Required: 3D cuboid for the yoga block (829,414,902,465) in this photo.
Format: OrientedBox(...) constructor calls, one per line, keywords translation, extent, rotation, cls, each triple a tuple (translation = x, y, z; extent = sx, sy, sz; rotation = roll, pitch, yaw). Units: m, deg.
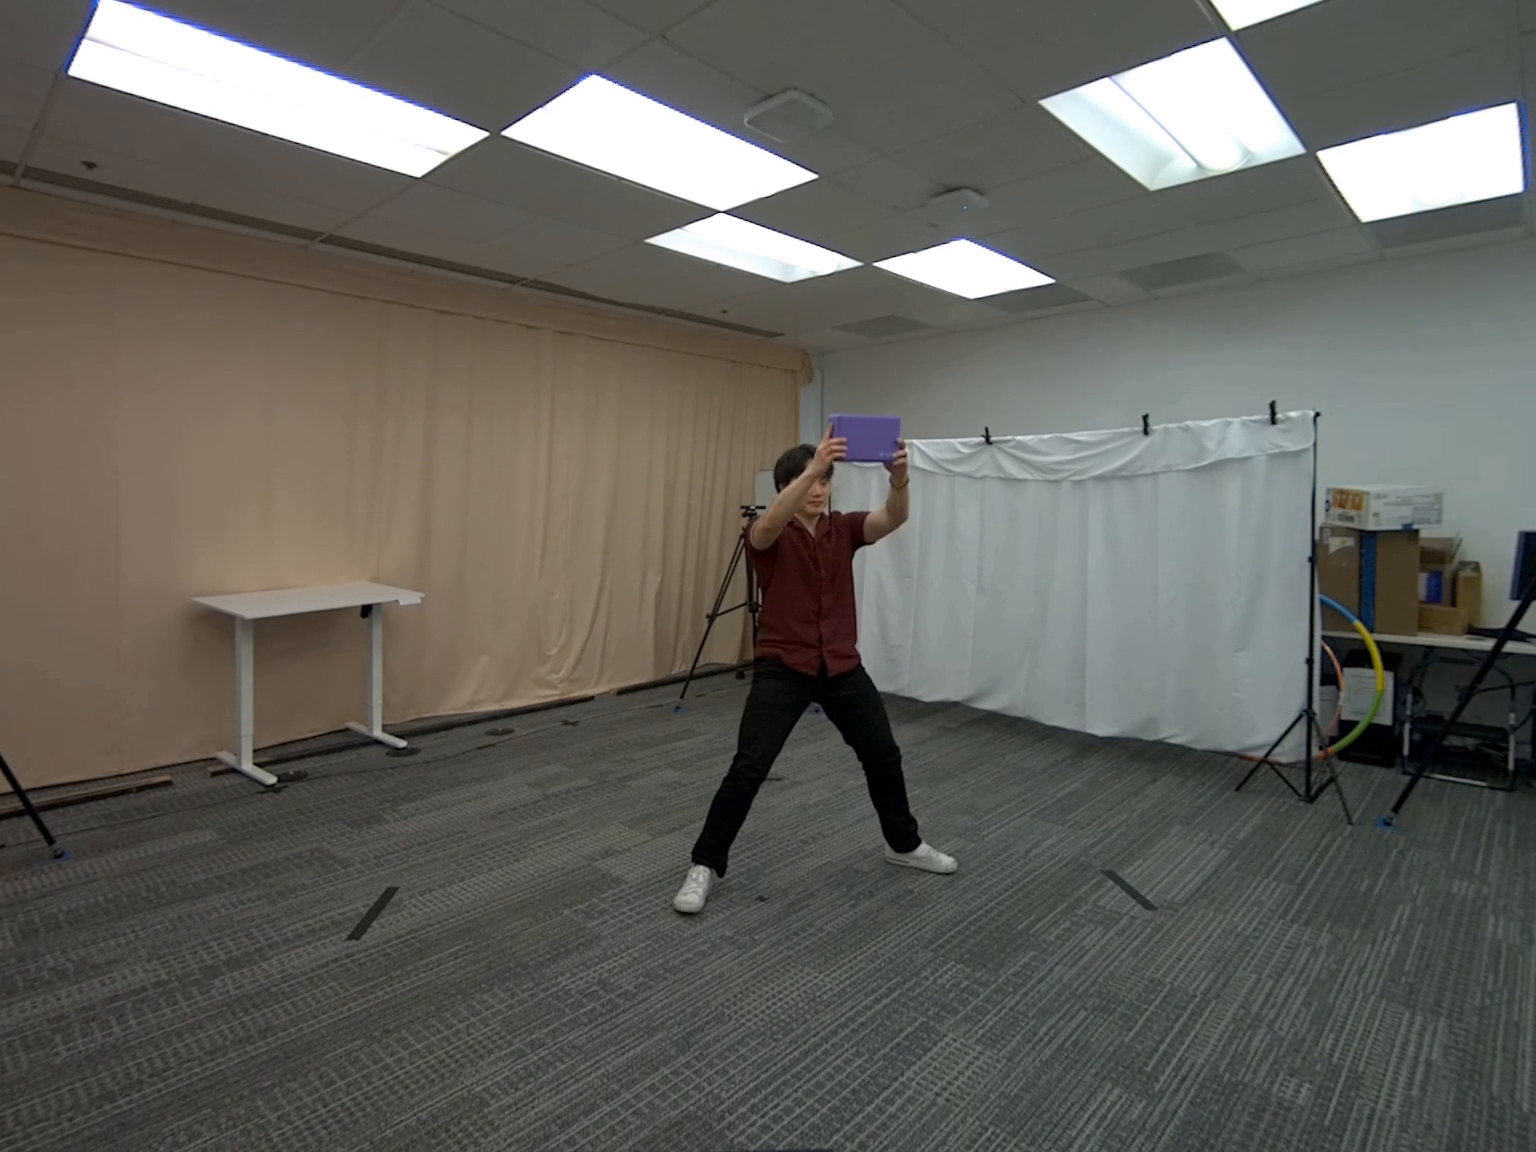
OrientedBox(translation=(0.306, -0.426, 2.679), extent=(0.225, 0.148, 0.078), rotation=(-3, 9, -19), cls="yoga block")
